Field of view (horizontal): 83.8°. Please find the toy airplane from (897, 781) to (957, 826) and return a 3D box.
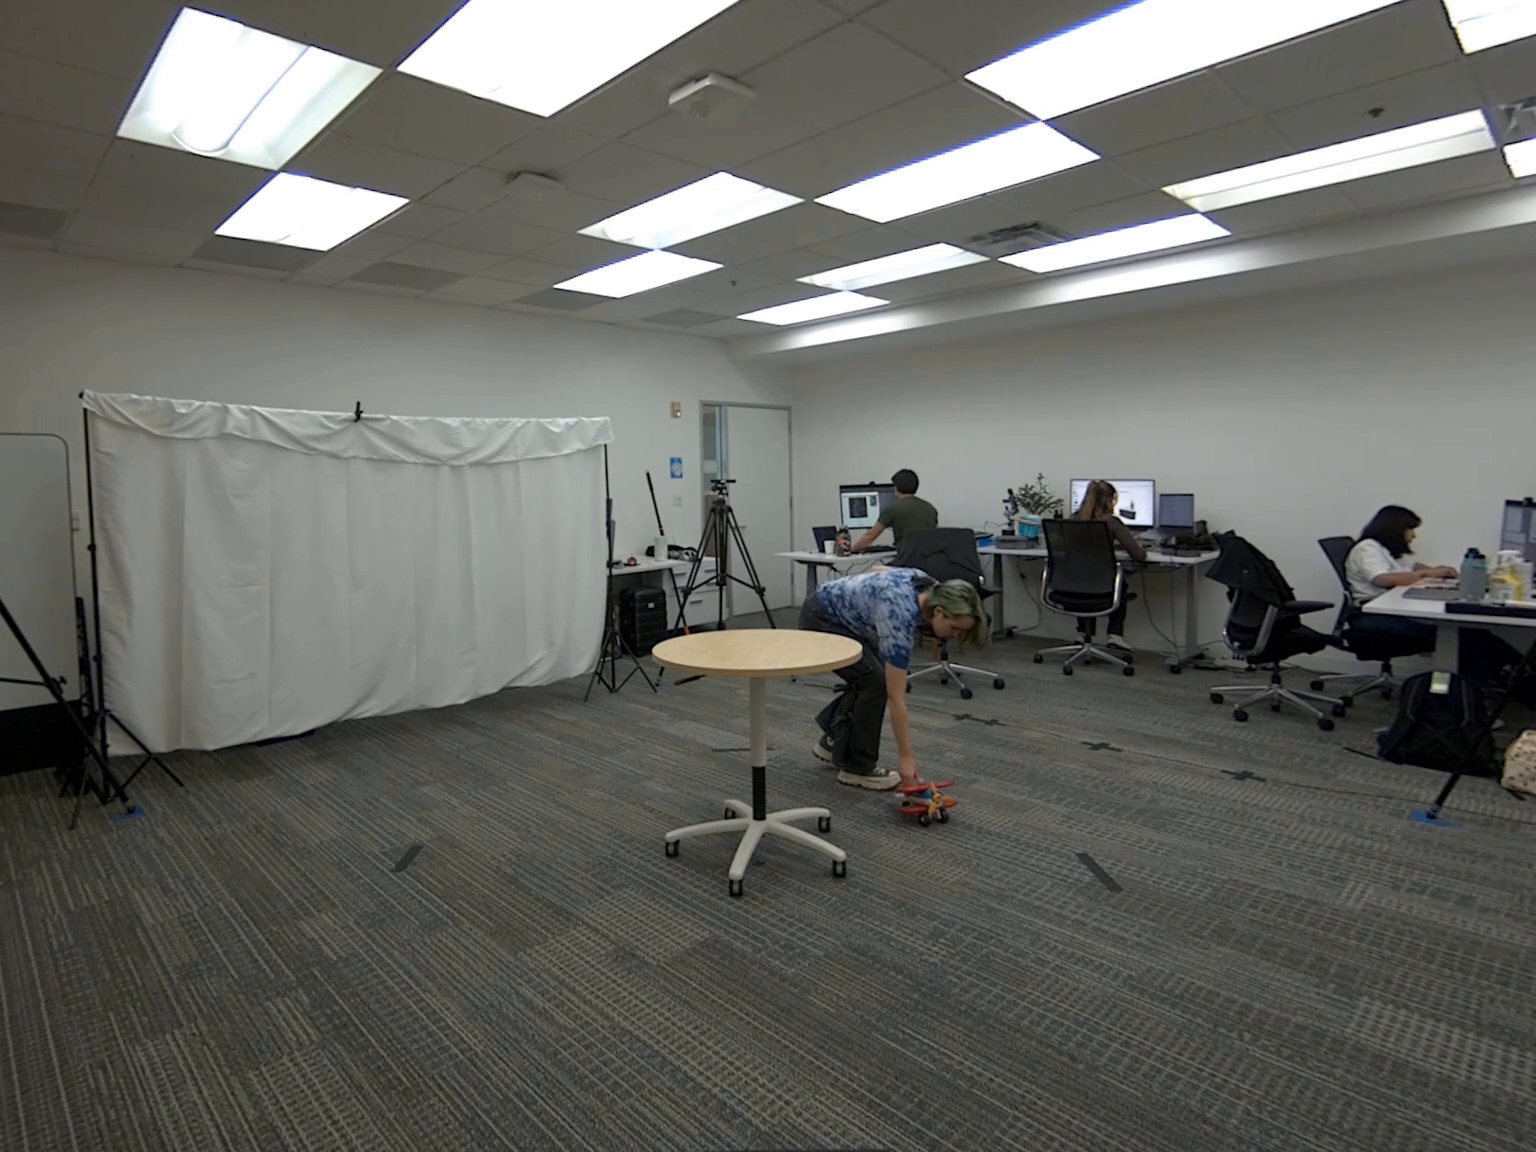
[{"bbox_3d":[0.621,0.922,3.512,0.267,0.156,0.244,5,8,41],"label":"toy airplane"}]
